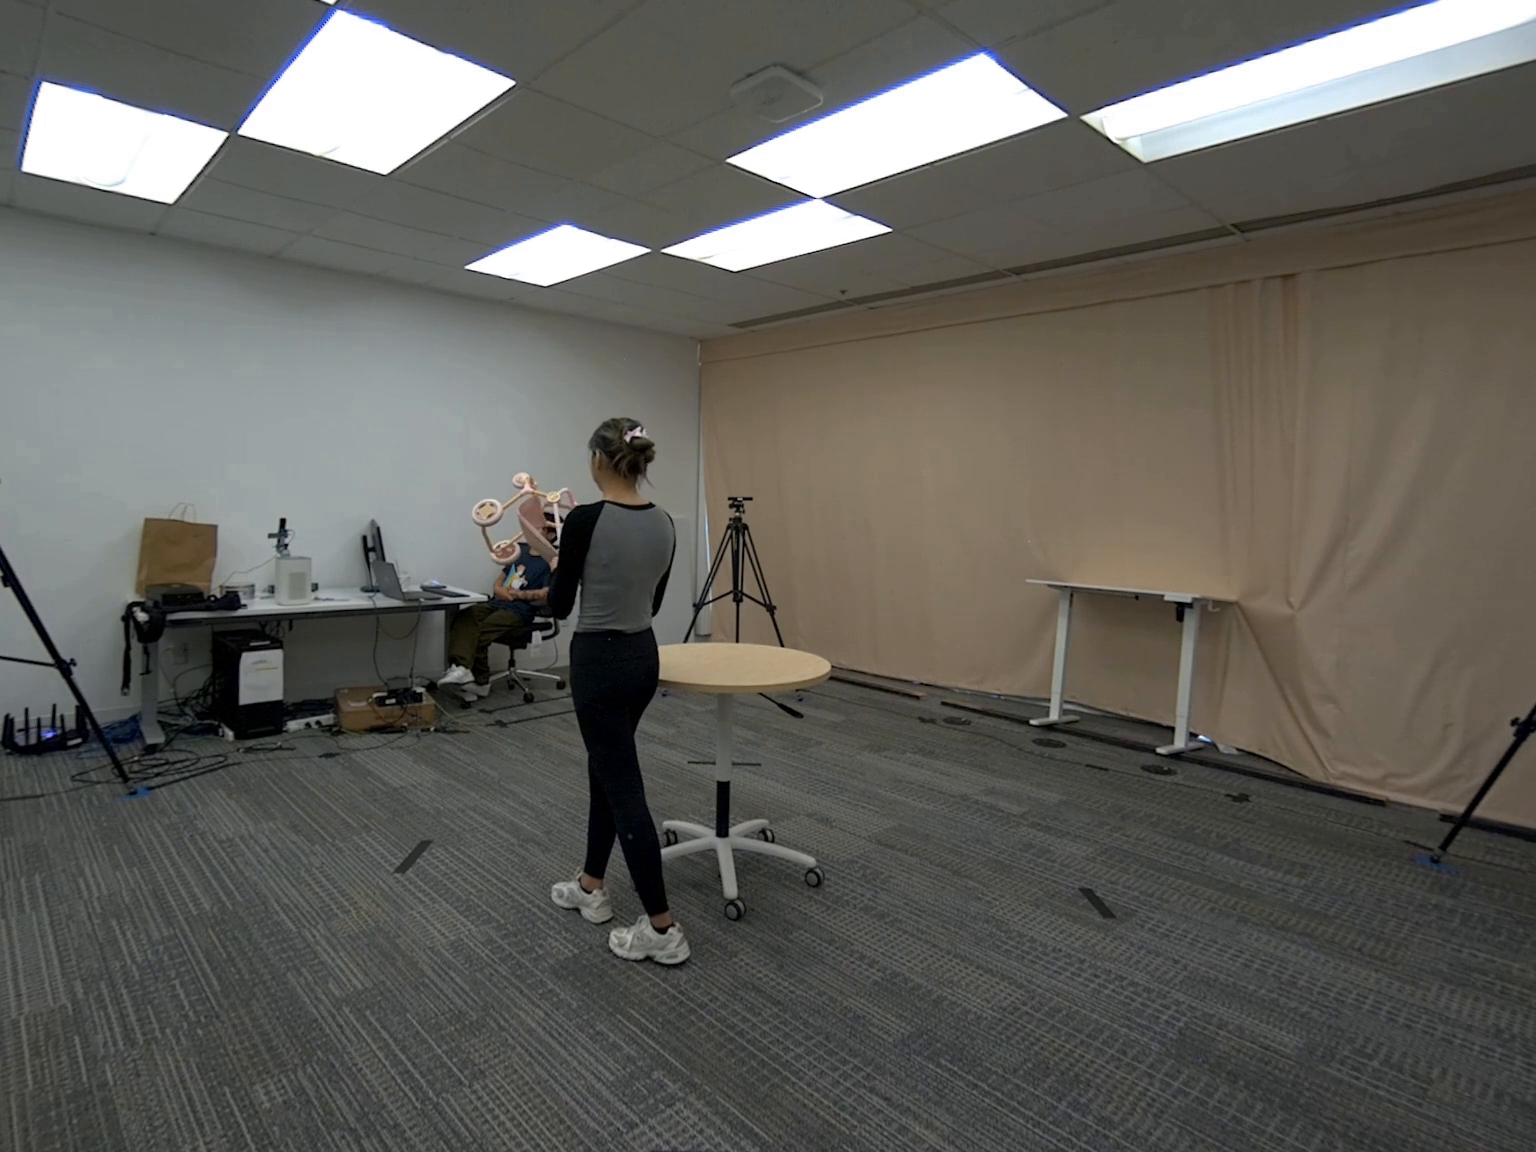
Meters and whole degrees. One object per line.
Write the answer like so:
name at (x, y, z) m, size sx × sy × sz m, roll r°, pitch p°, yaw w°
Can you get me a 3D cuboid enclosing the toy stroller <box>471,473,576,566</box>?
toy stroller at (-0.801, -0.162, 3.039) m, size 0.546 × 0.342 × 0.275 m, roll 27°, pitch -33°, yaw 19°
